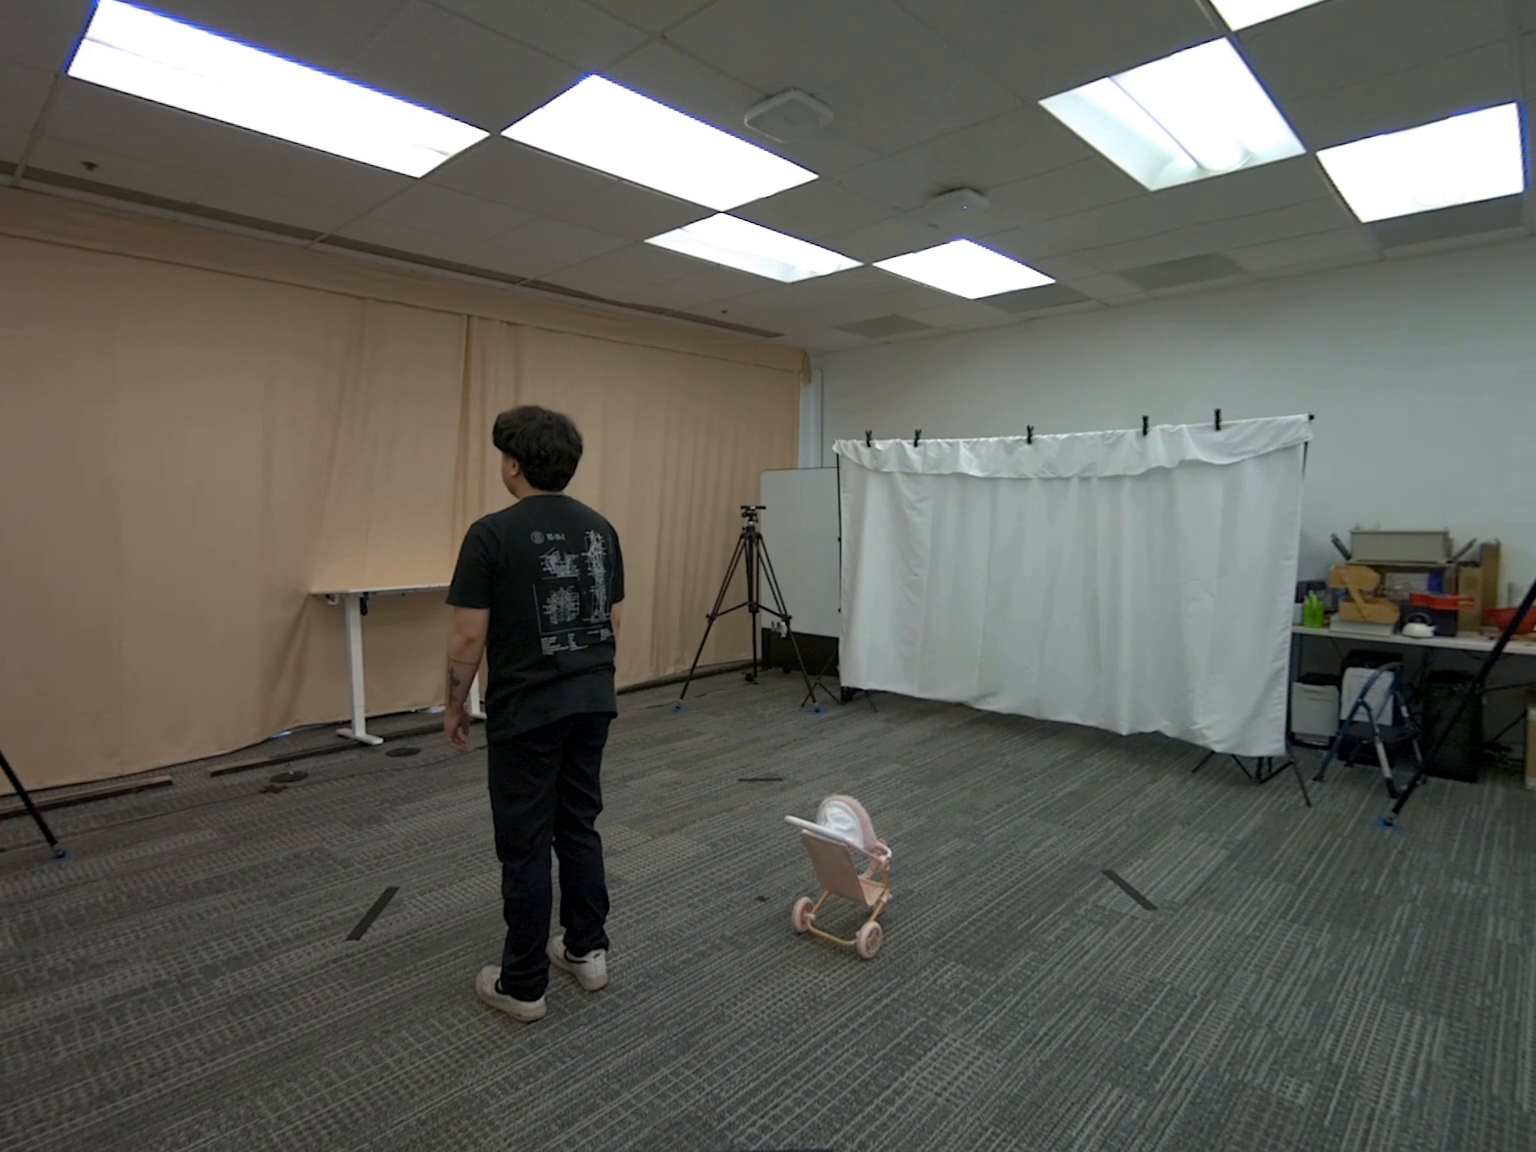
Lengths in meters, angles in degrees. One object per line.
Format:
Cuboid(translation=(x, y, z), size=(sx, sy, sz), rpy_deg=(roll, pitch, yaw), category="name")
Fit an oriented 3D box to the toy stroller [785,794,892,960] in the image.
Cuboid(translation=(0.257, 0.938, 2.711), size=(0.291, 0.529, 0.334), rpy_deg=(3, 20, 43), category="toy stroller")
